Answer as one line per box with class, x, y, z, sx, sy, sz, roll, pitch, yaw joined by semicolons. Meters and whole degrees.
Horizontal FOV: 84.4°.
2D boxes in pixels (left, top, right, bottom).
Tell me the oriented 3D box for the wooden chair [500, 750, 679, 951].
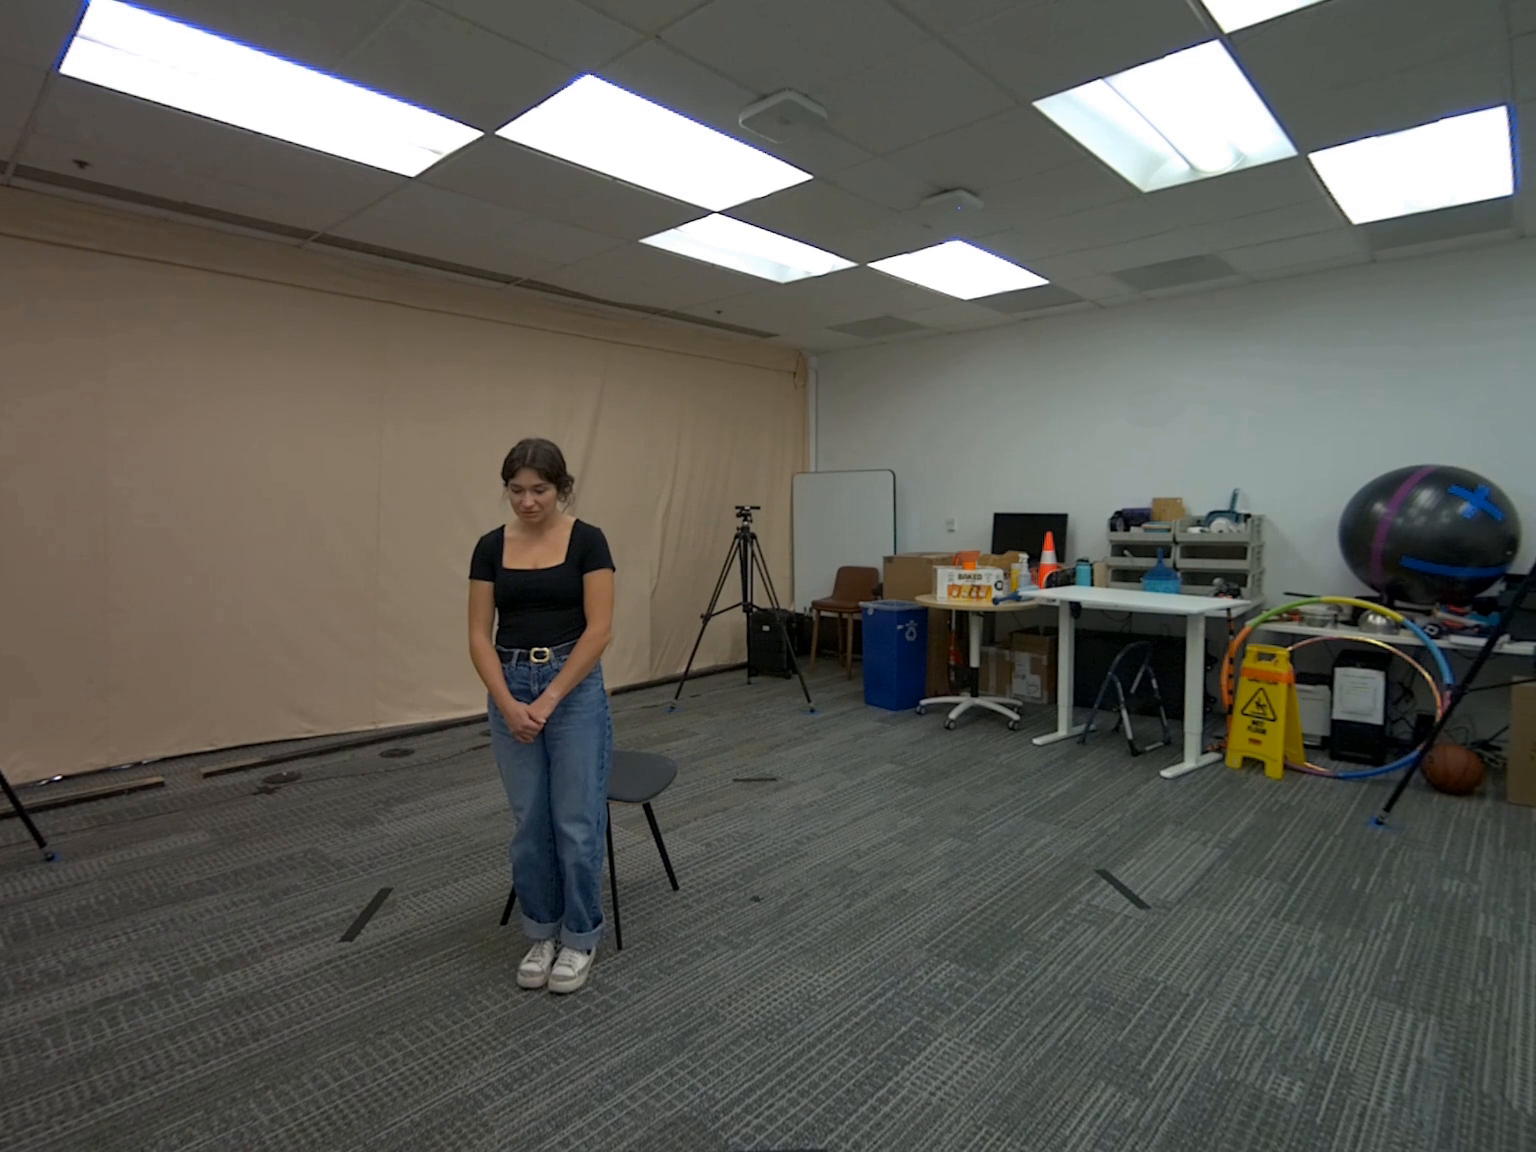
wooden chair;-0.602;0.728;2.905;0.534;0.876;0.469;-4;2;20
